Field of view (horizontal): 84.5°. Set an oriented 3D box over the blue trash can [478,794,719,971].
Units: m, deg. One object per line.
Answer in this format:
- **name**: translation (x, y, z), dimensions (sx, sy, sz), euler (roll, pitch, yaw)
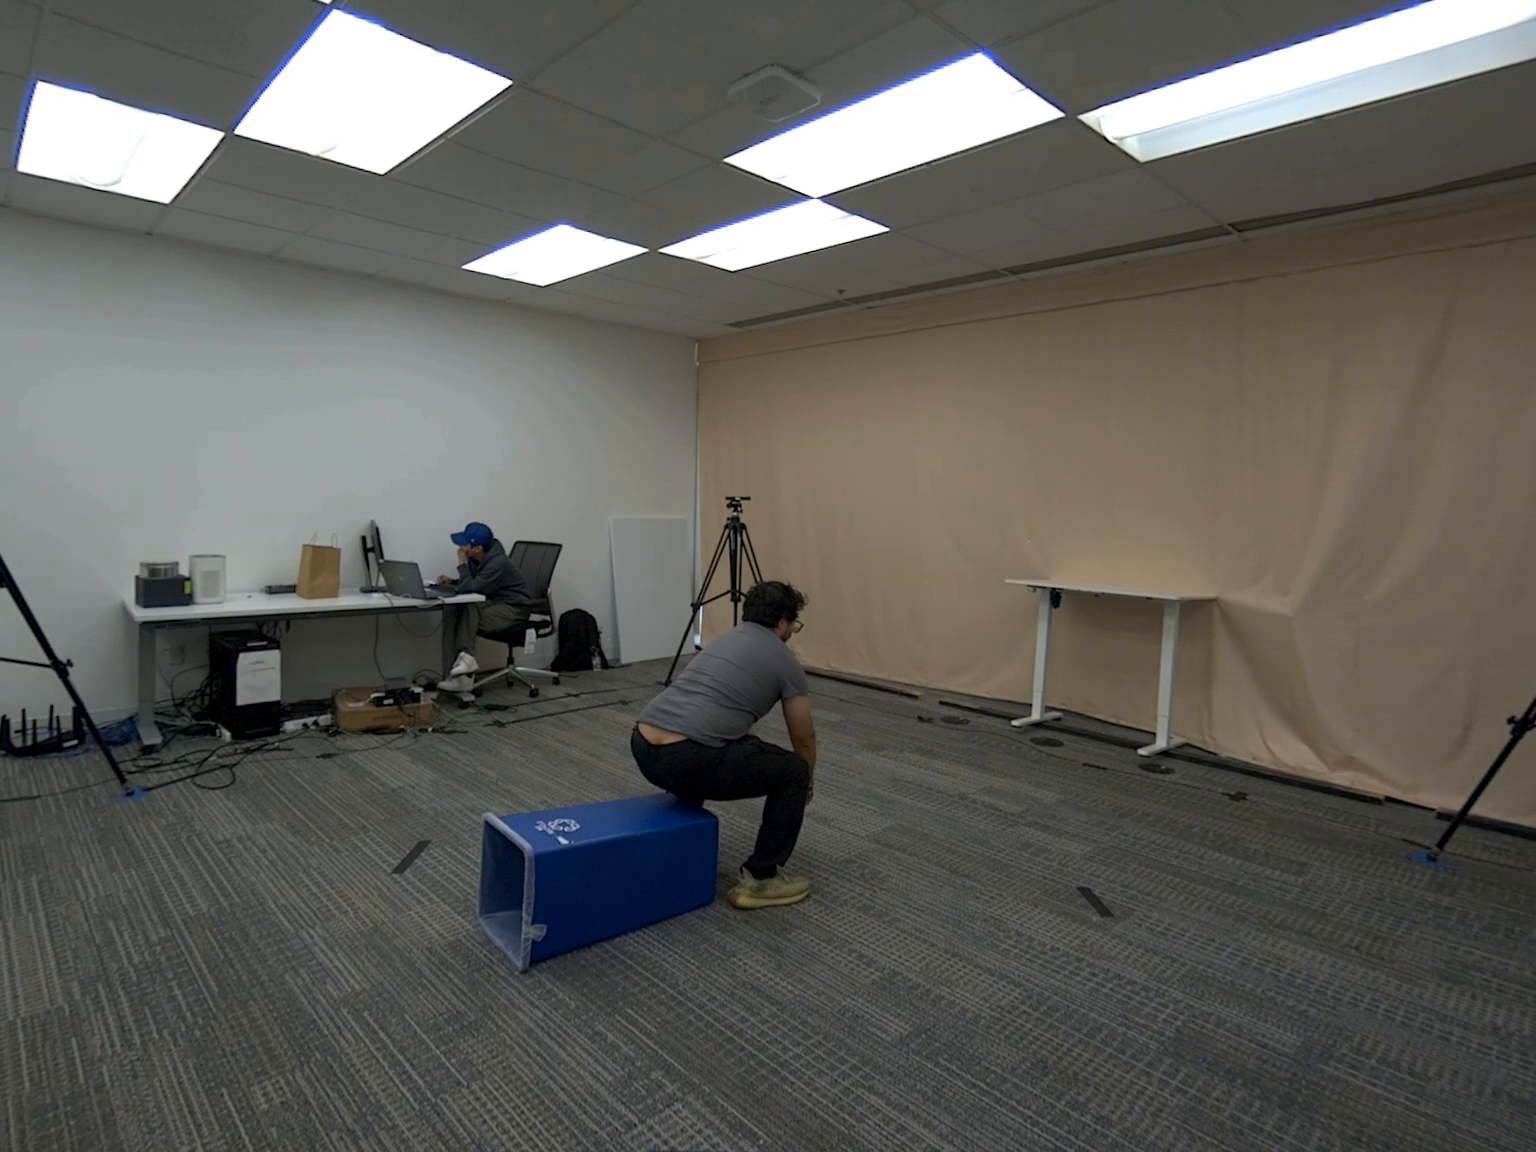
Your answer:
- **blue trash can**: translation (-0.552, 0.951, 2.777), dimensions (0.697, 0.373, 0.387), euler (-1, 4, -39)
